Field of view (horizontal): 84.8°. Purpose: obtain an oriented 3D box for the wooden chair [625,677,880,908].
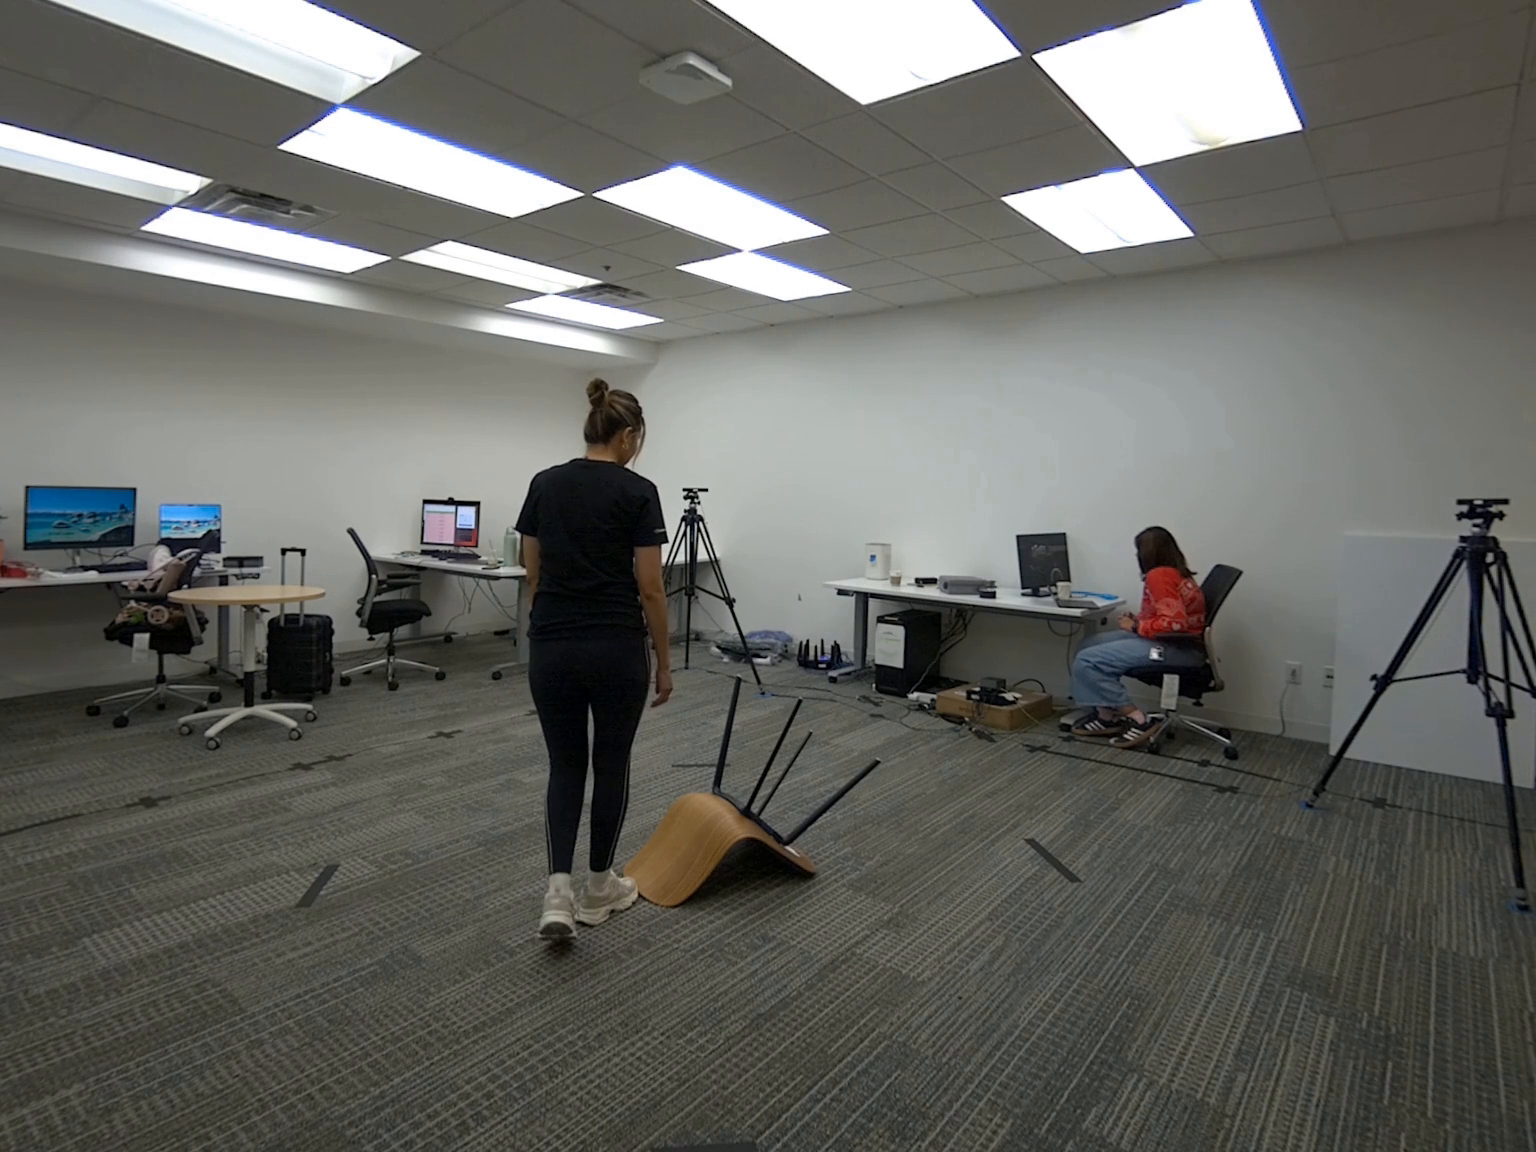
[{"bbox_3d":[-0.072,0.895,3.163,0.506,0.879,0.493,44,-18,-26],"label":"wooden chair"}]
